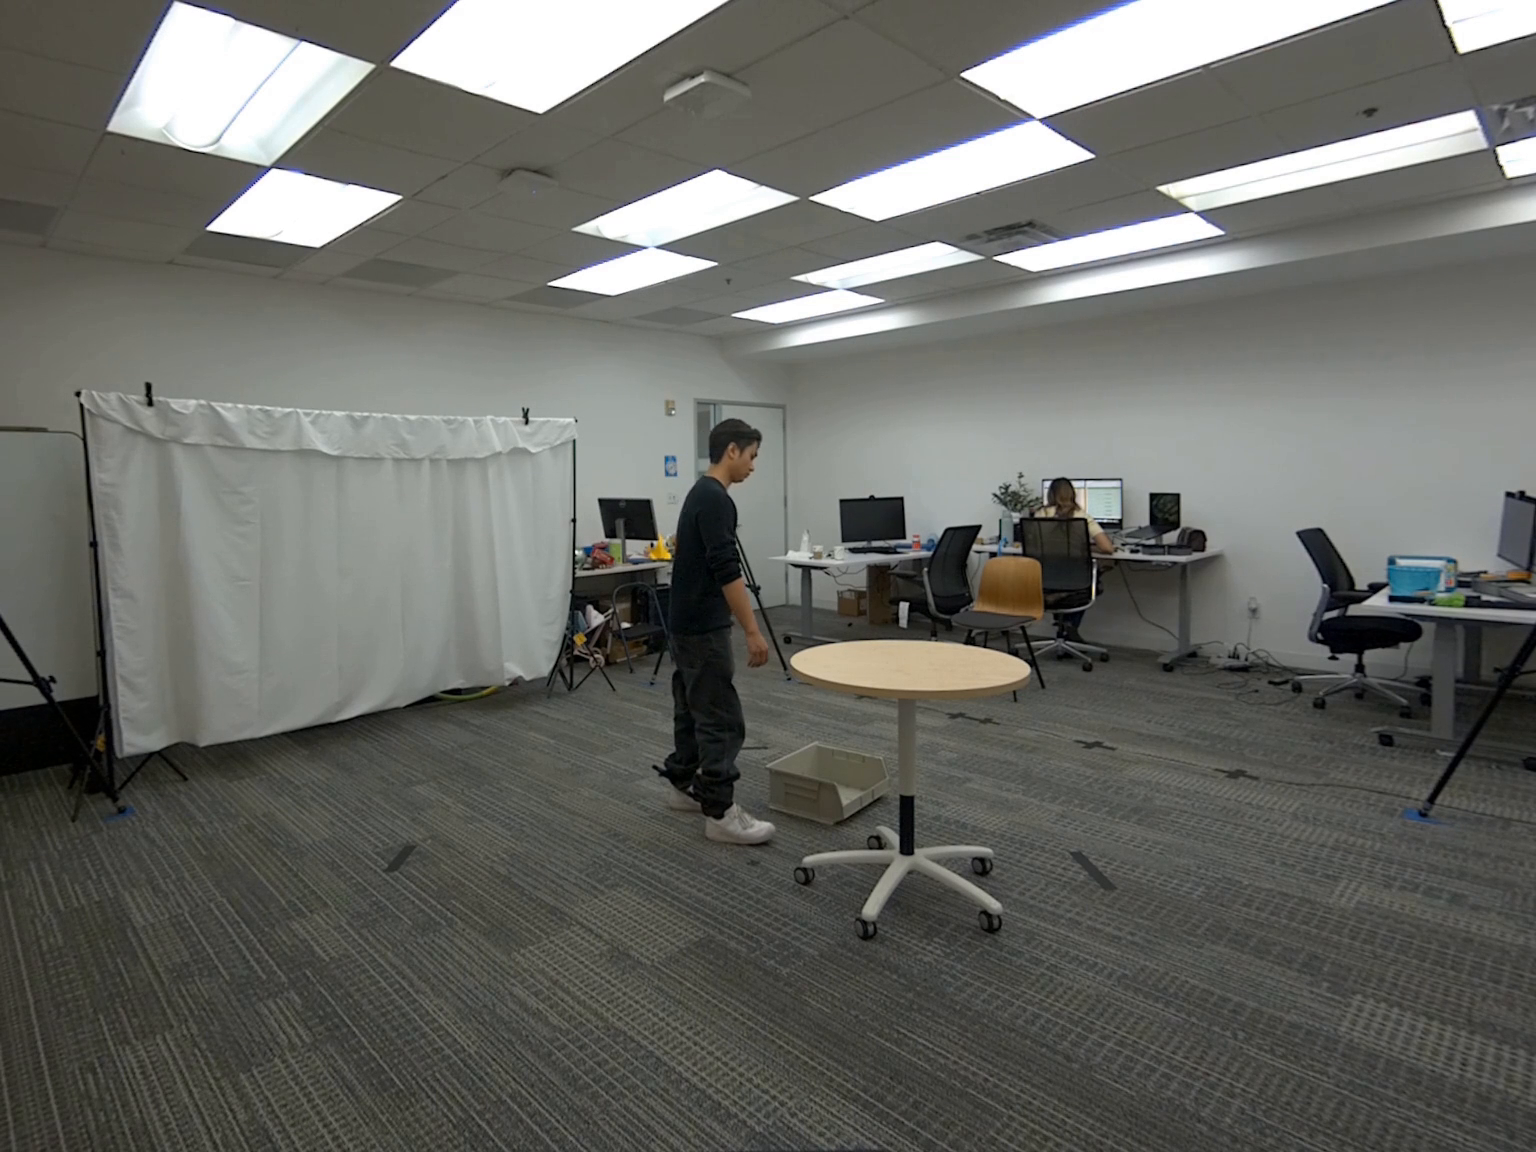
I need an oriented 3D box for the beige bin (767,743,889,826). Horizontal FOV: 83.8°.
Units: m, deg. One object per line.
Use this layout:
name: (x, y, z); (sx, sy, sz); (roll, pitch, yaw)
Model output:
beige bin: (0.260, 0.884, 3.669); (0.388, 0.188, 0.412); (3, 8, 36)
